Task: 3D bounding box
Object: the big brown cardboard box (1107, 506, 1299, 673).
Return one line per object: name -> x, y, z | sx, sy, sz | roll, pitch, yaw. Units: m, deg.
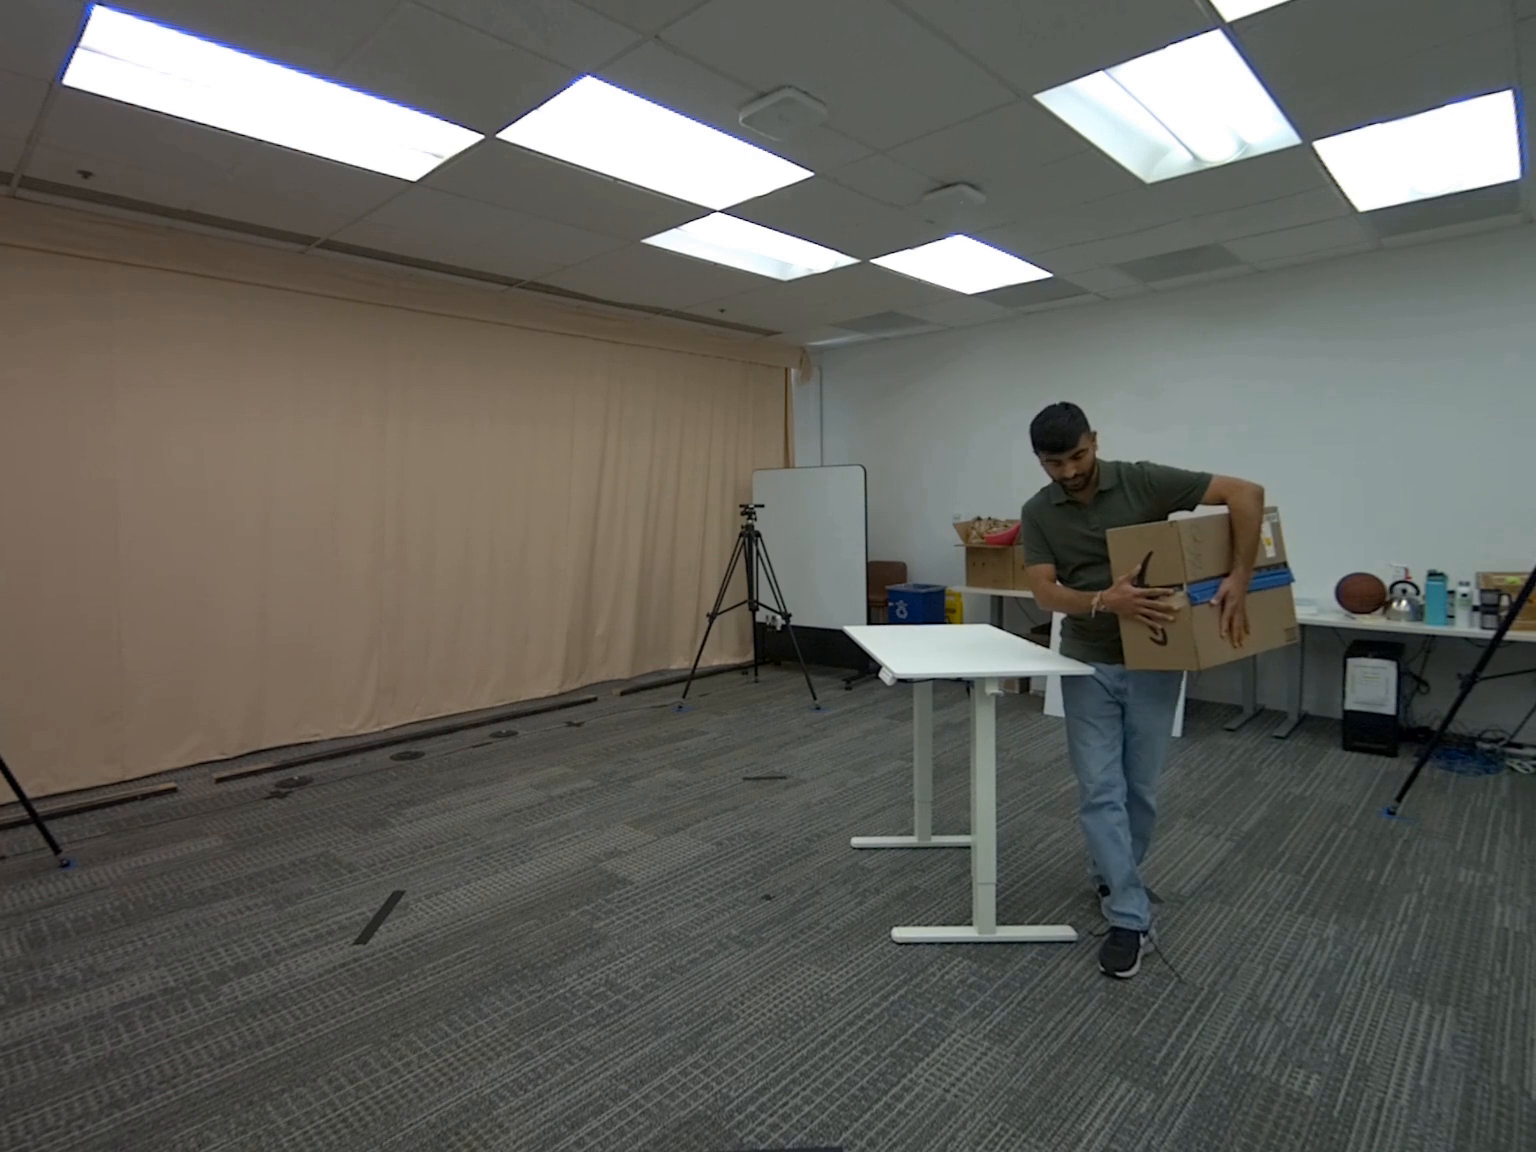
big brown cardboard box -> 1.327, 0.029, 2.522 | 0.574, 0.418, 0.239 | -7, -3, -31
